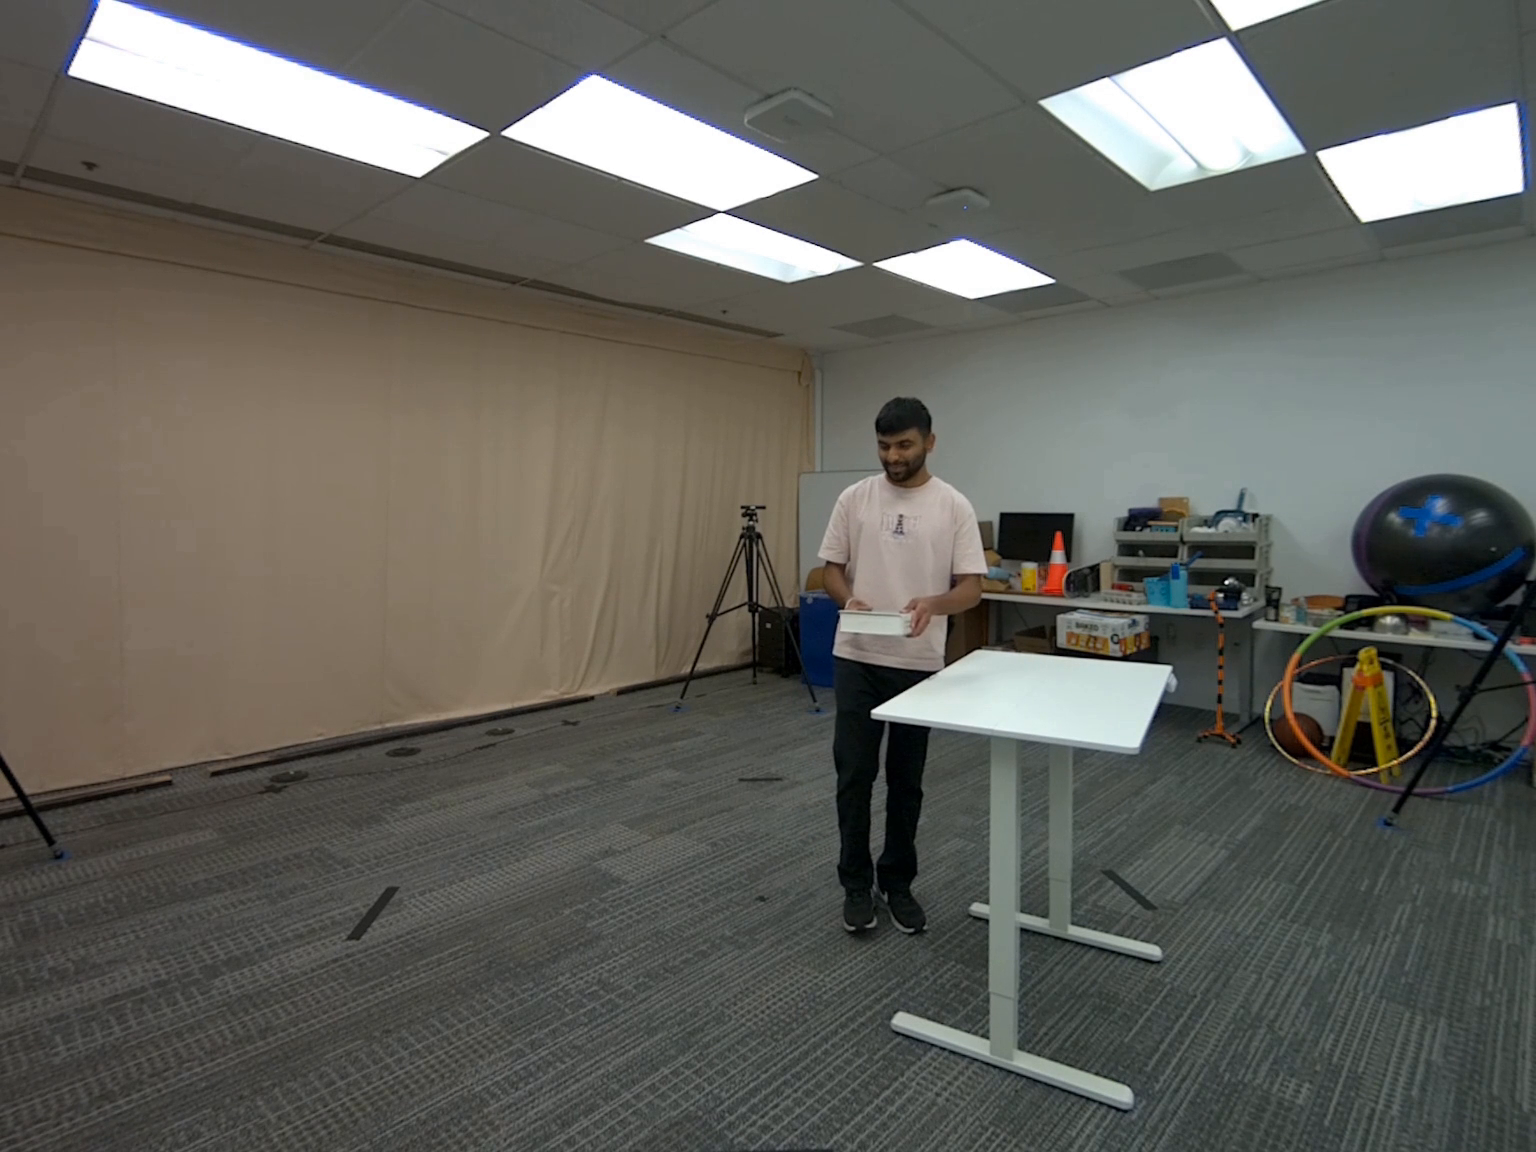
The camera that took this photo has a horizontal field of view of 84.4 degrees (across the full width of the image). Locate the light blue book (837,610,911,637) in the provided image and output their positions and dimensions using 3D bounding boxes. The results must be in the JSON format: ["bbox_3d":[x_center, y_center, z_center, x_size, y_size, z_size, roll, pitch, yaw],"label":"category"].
[{"bbox_3d":[0.331,0.136,2.503,0.197,0.059,0.254,4,1,27],"label":"light blue book"}]
